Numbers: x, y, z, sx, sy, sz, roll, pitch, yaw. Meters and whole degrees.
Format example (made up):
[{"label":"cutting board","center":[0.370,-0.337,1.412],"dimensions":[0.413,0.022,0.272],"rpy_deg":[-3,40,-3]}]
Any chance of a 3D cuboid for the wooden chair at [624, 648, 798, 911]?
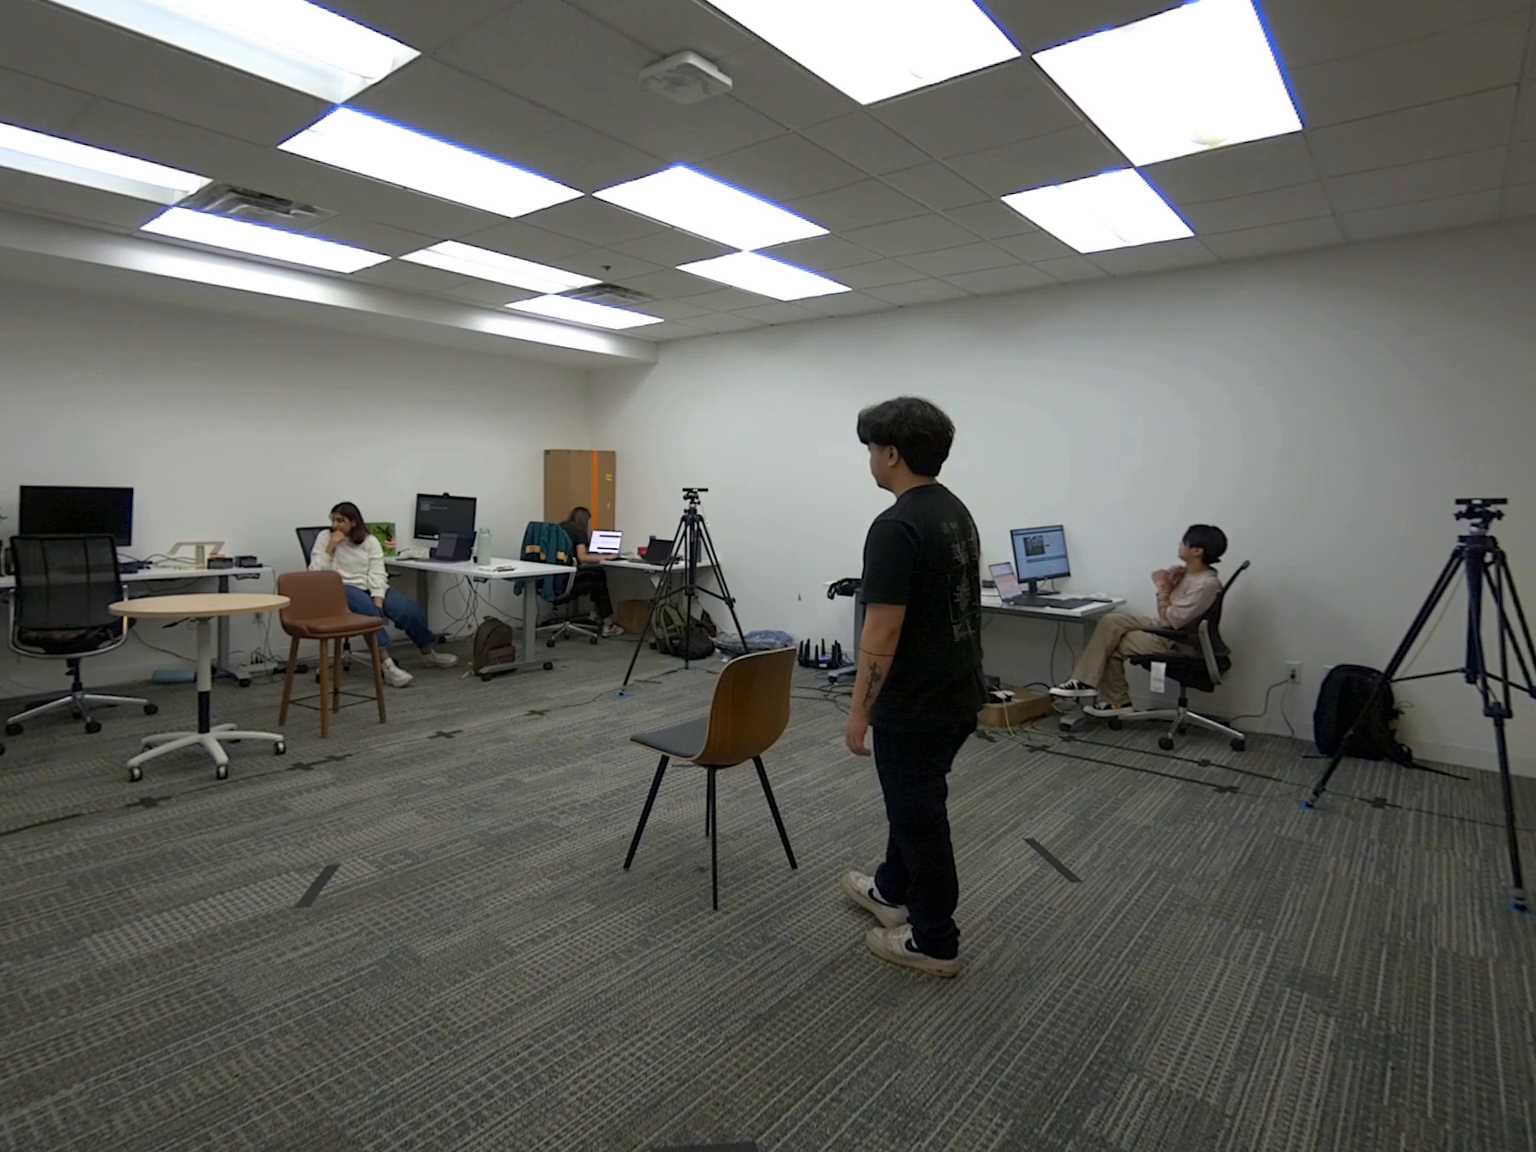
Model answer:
[{"label":"wooden chair","center":[-0.216,0.646,3.094],"dimensions":[0.542,0.873,0.464],"rpy_deg":[9,8,40]}]
